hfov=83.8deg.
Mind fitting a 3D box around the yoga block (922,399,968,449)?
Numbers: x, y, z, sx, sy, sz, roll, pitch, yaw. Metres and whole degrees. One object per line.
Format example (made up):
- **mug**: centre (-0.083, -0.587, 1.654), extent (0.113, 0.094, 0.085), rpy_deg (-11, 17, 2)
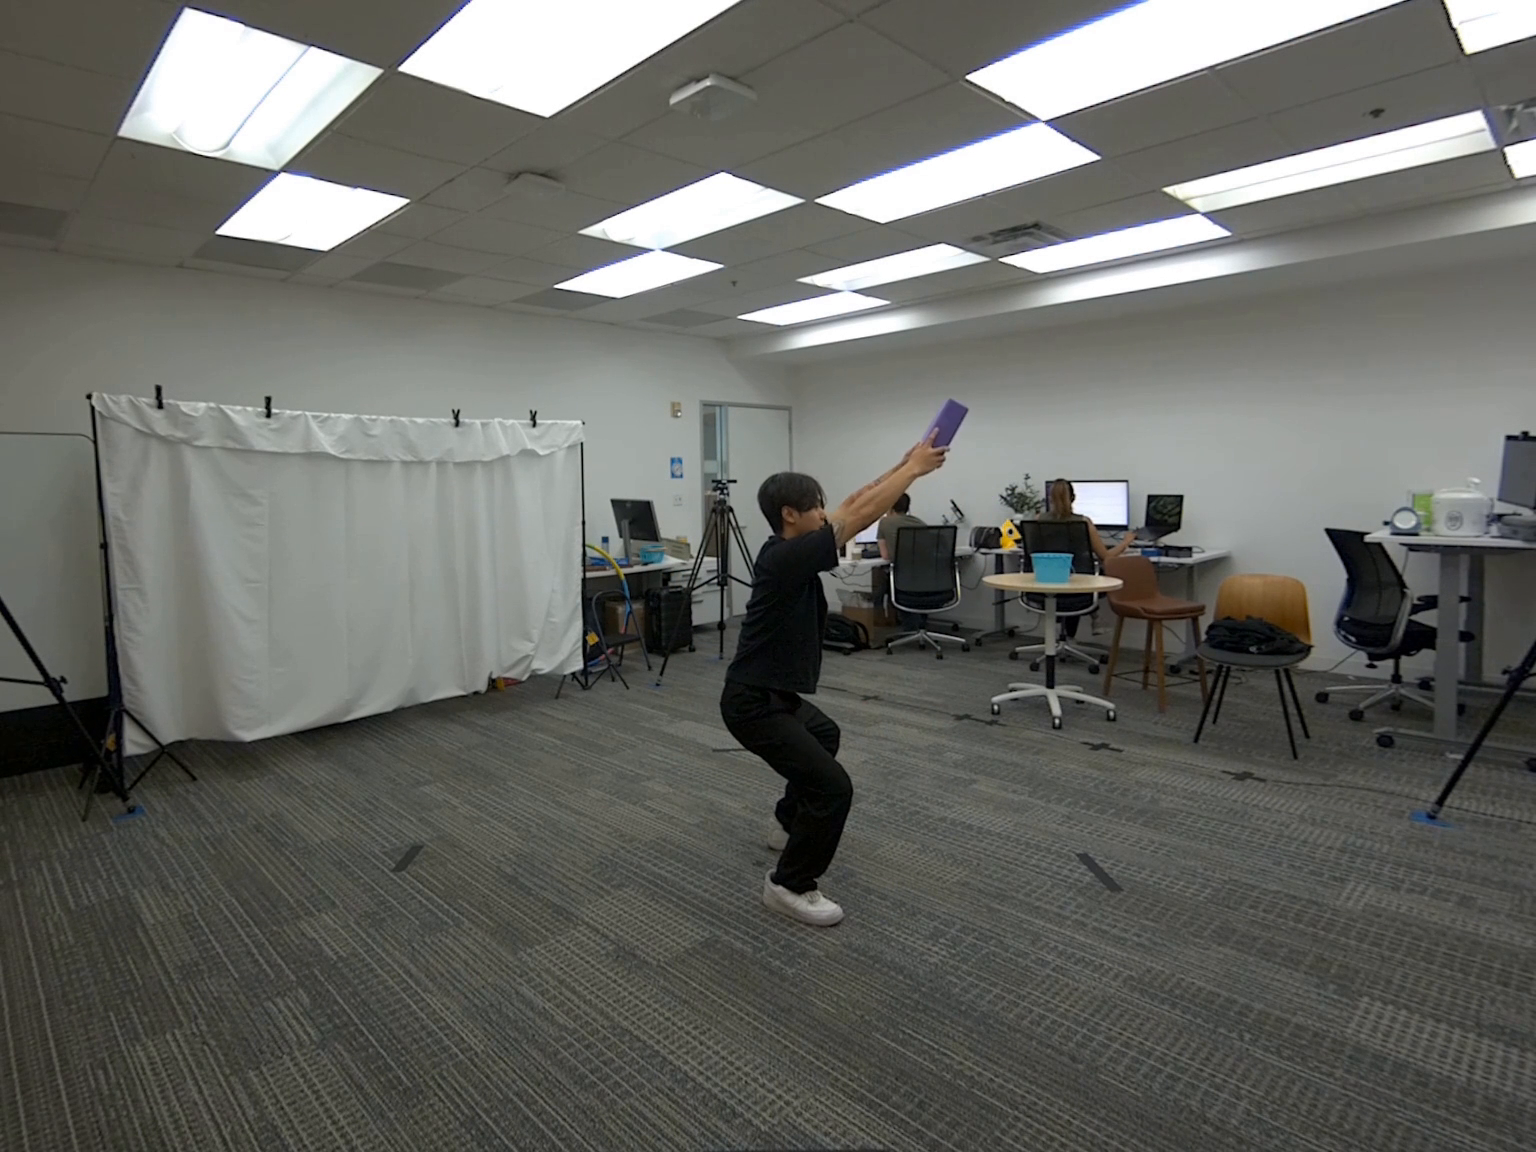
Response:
- **yoga block**: centre (0.592, -0.474, 2.885), extent (0.077, 0.229, 0.148), rpy_deg (27, 3, 4)
